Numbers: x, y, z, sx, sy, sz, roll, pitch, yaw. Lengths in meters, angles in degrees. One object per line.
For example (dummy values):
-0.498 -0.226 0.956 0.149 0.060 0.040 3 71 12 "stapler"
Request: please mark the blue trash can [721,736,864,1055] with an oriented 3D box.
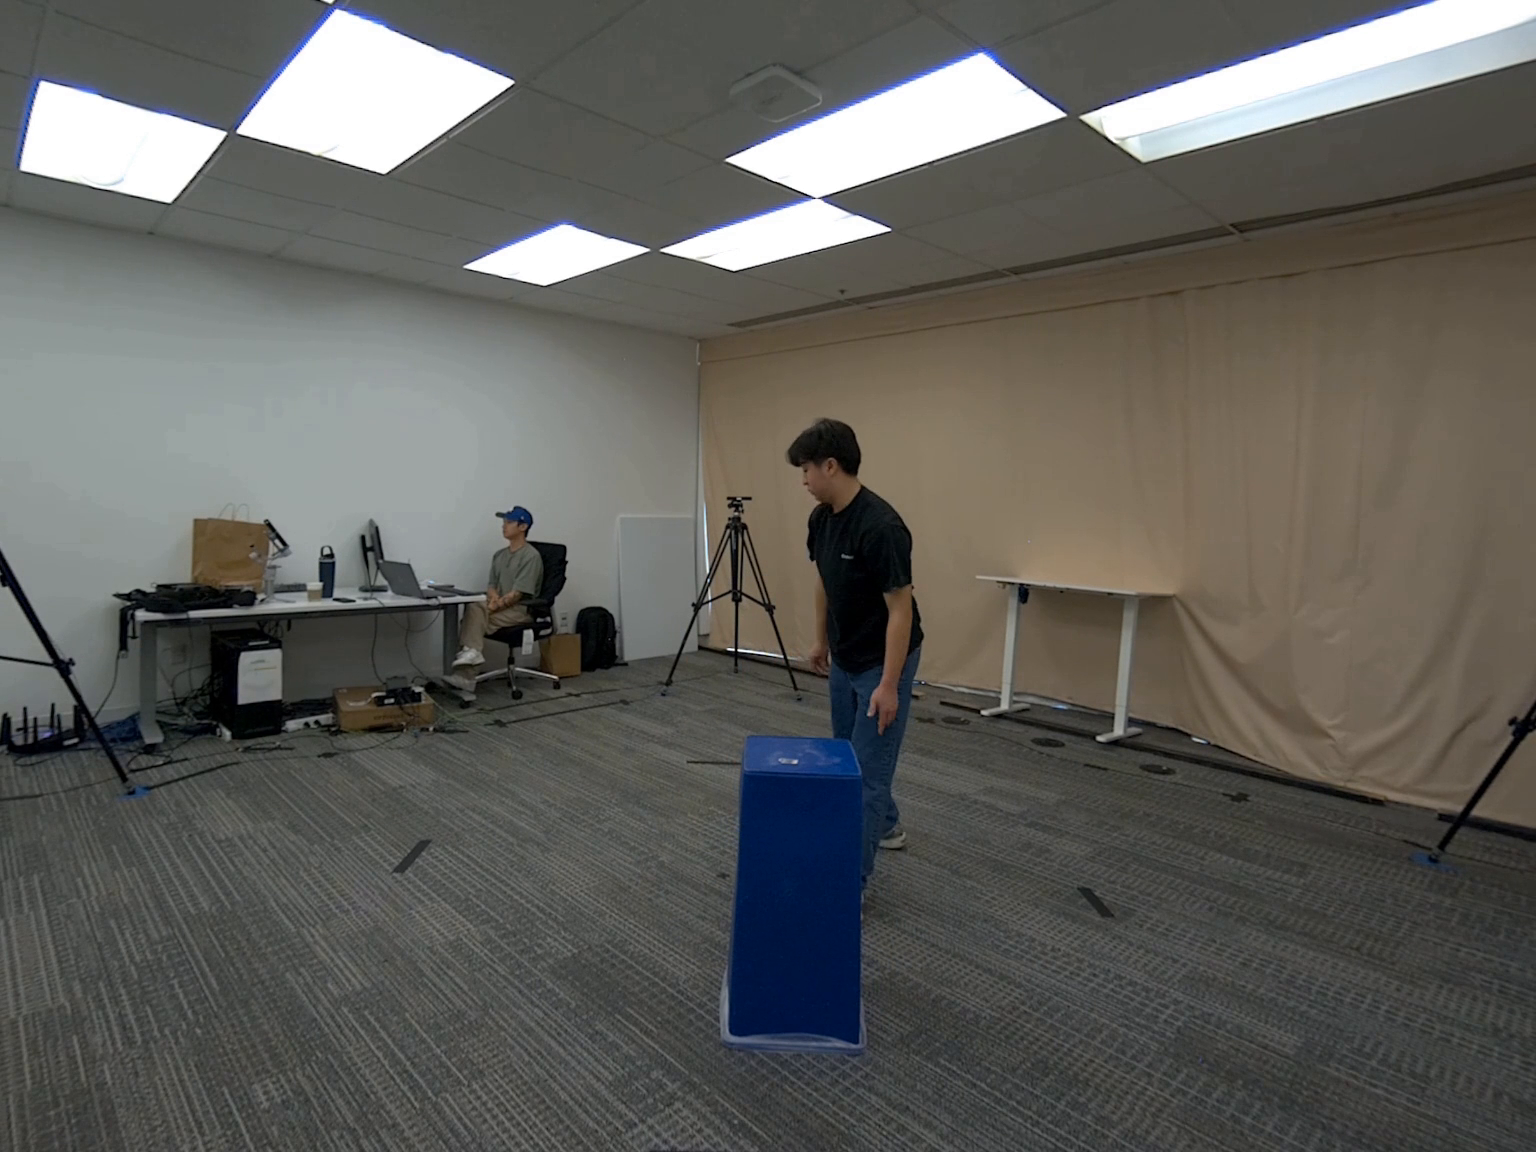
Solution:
0.069 0.840 2.271 0.378 0.711 0.375 2 5 0 "blue trash can"
